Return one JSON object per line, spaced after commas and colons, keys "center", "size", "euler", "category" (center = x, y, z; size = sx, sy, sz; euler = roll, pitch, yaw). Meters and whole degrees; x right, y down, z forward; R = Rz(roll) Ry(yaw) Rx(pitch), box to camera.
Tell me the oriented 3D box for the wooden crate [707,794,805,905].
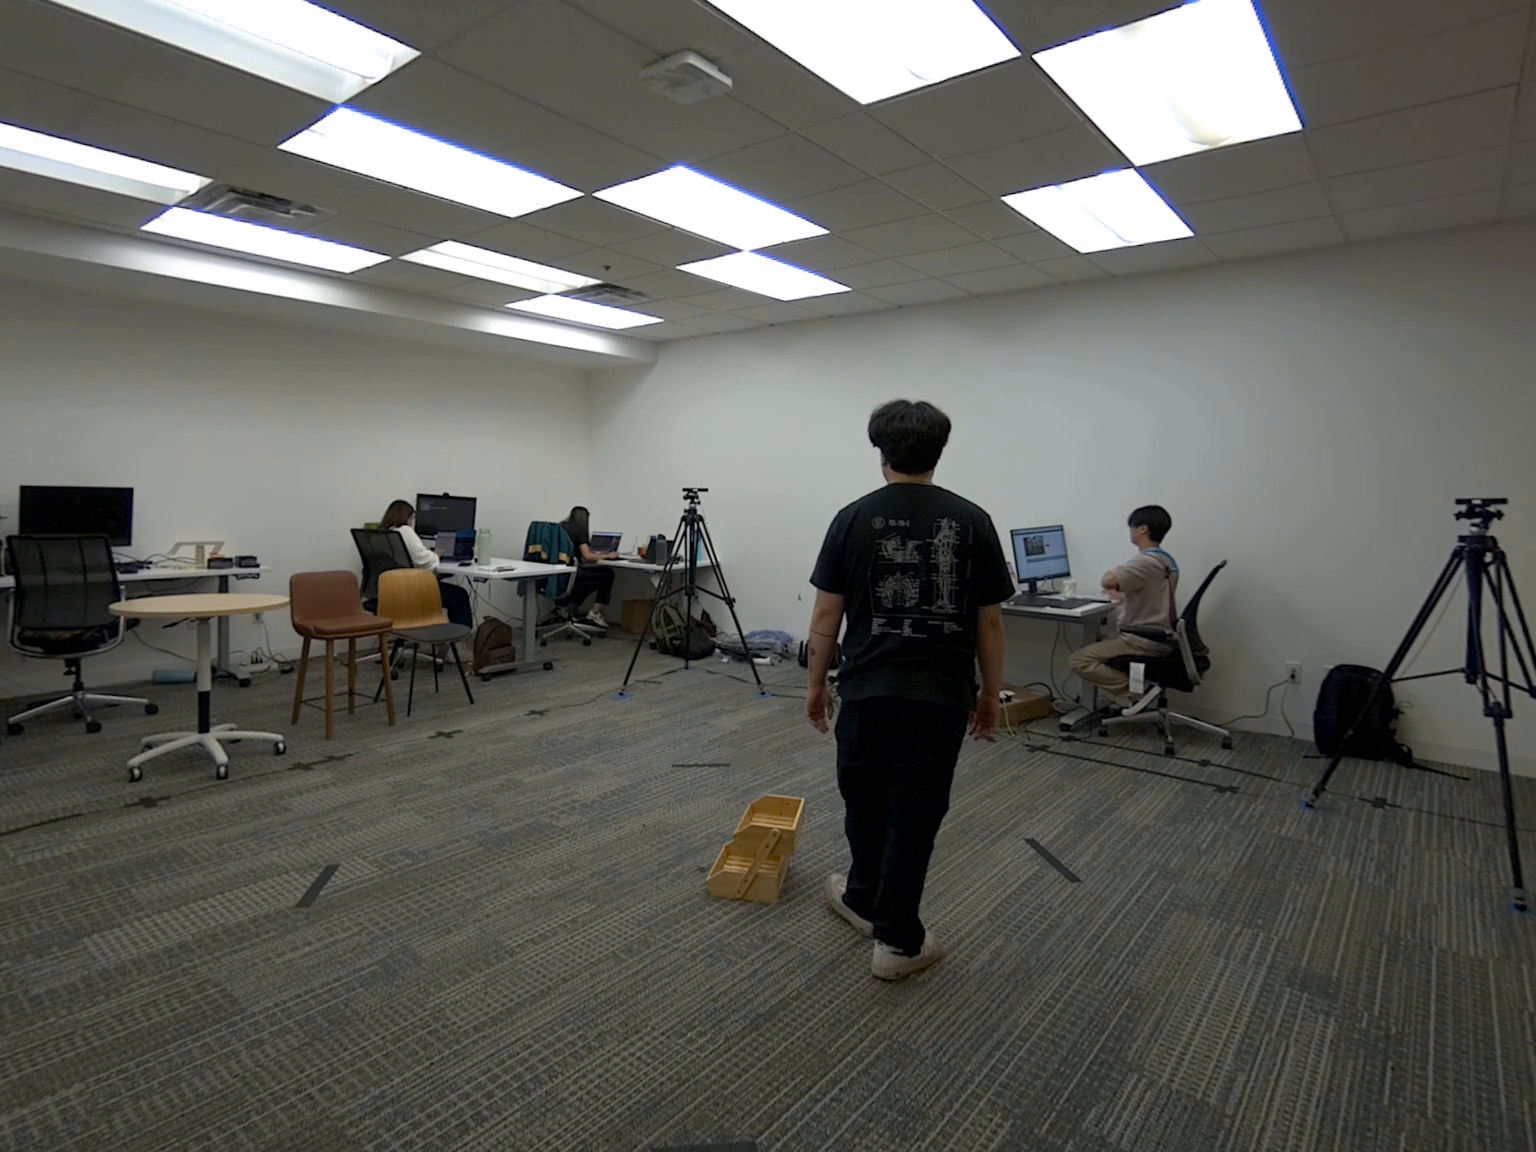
{"center": [-0.052, 0.946, 3.017], "size": [0.306, 0.272, 0.322], "euler": [3, 5, 10], "category": "wooden crate"}
